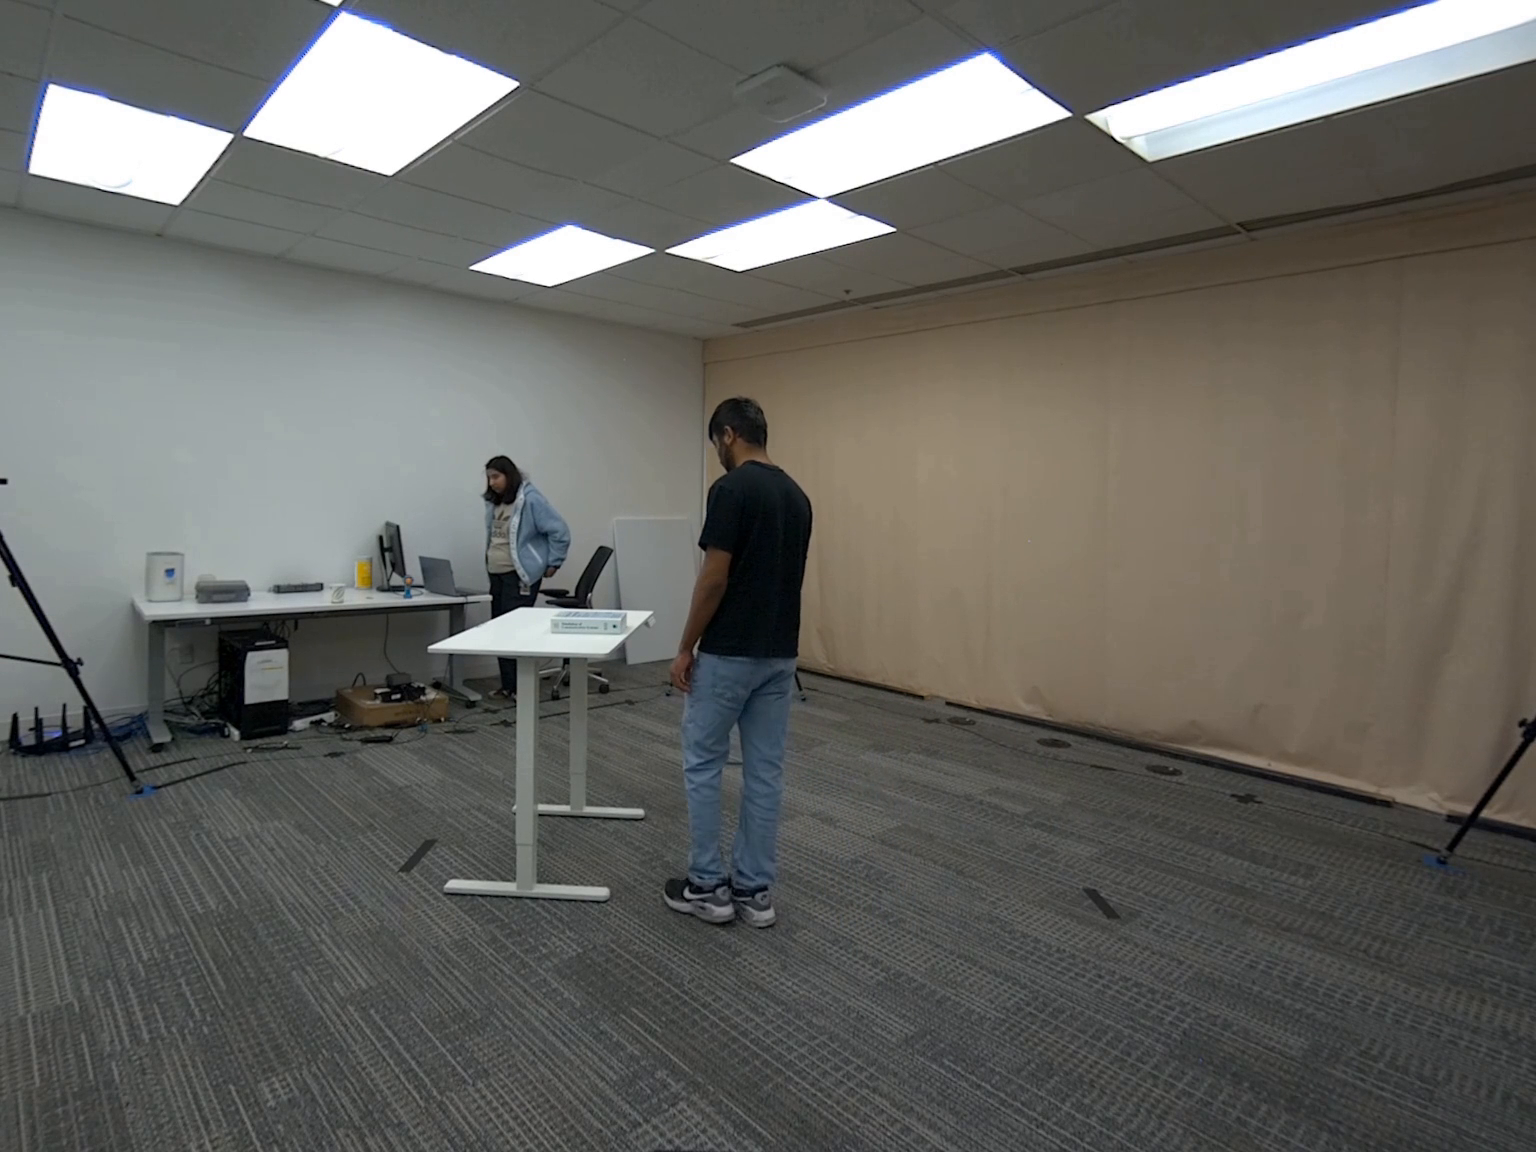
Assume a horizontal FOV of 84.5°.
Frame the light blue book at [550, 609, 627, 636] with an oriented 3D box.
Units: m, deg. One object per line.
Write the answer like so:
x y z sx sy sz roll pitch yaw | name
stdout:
-0.675 0.175 3.190 0.261 0.059 0.192 1 6 0 | light blue book
